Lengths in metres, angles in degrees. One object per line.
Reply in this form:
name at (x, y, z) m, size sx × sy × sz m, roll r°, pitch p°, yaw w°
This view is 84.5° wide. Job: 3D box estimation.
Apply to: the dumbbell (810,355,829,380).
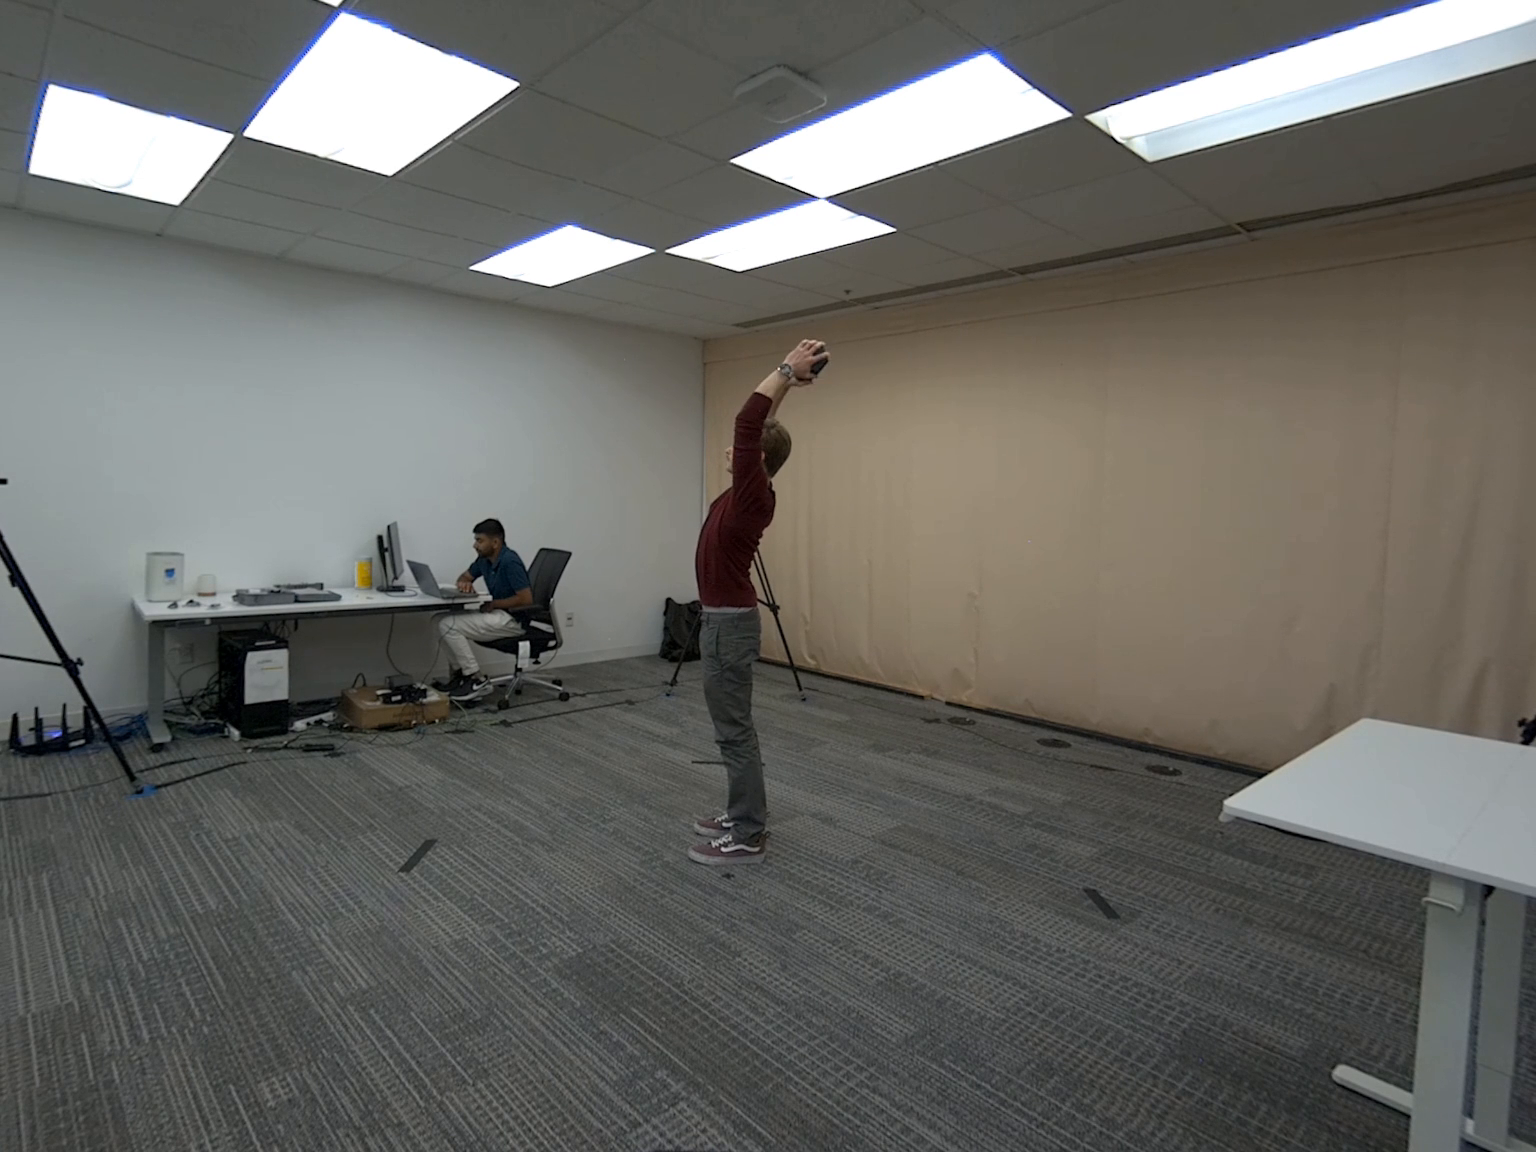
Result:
dumbbell at (0.151, -0.819, 3.250) m, size 0.123 × 0.108 × 0.295 m, roll 12°, pitch 5°, yaw -4°
